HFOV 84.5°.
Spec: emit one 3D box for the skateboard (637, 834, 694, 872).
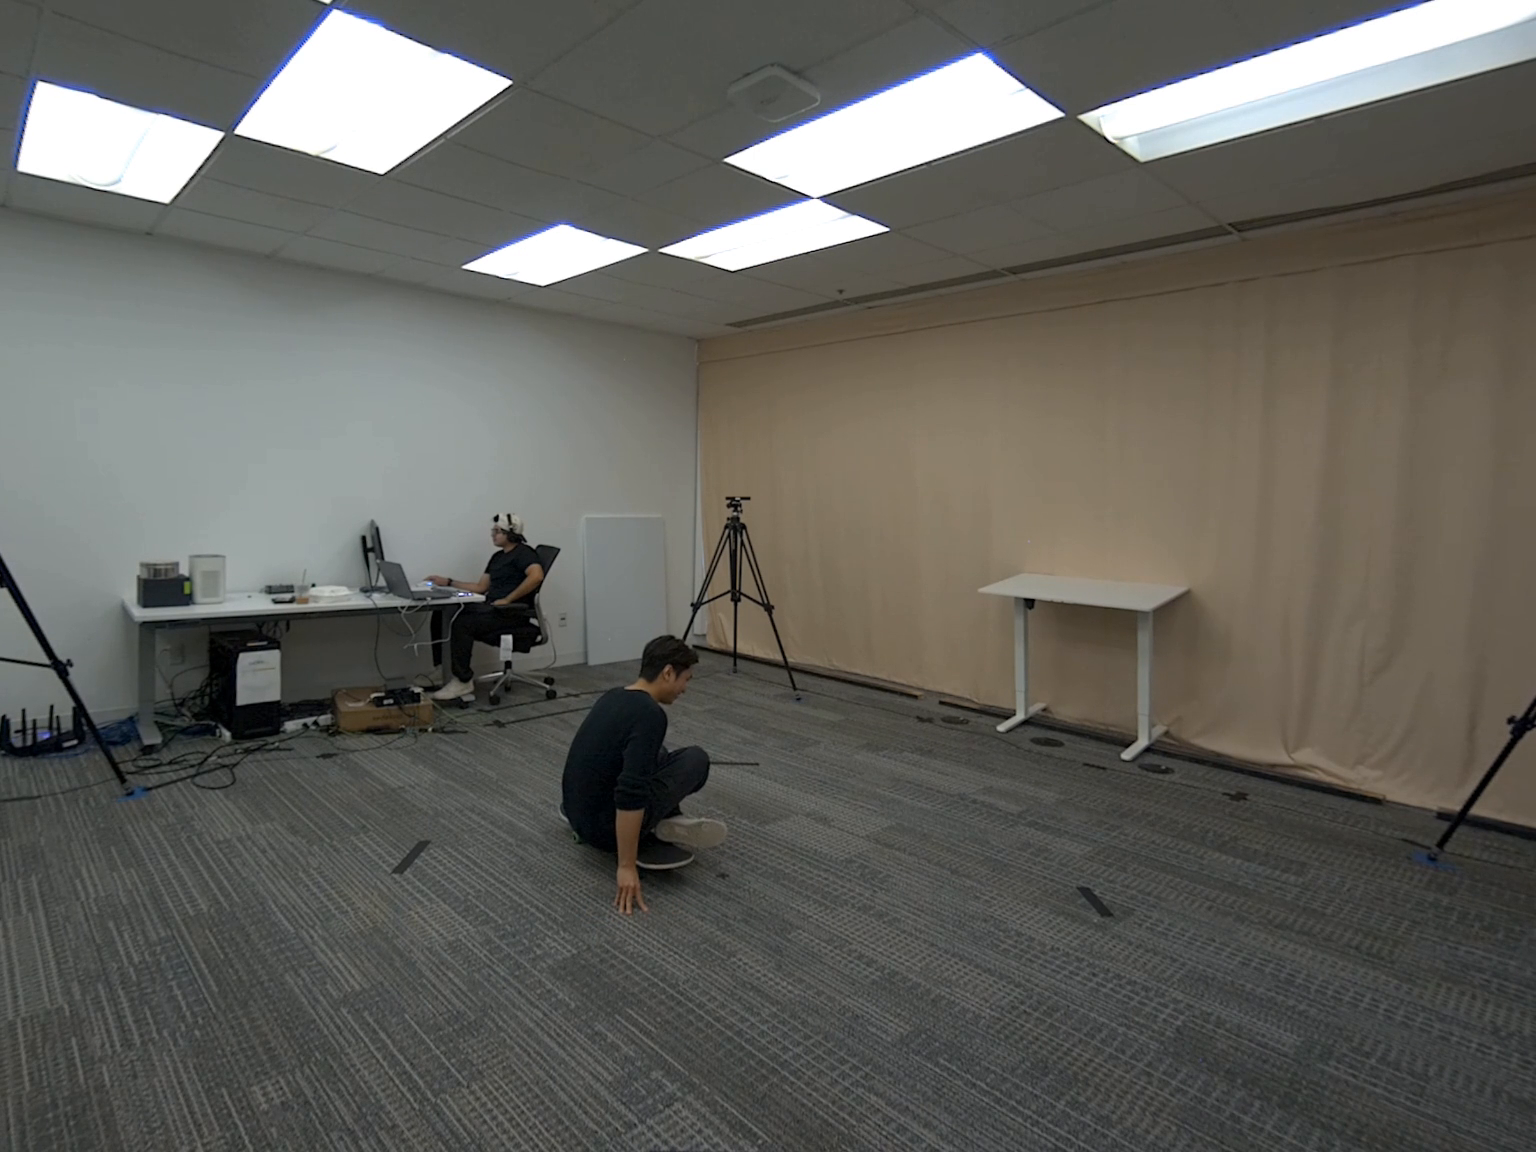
[{"bbox_3d":[-0.574,1.038,3.271,0.189,0.110,0.806,-2,6,-42],"label":"skateboard"}]
